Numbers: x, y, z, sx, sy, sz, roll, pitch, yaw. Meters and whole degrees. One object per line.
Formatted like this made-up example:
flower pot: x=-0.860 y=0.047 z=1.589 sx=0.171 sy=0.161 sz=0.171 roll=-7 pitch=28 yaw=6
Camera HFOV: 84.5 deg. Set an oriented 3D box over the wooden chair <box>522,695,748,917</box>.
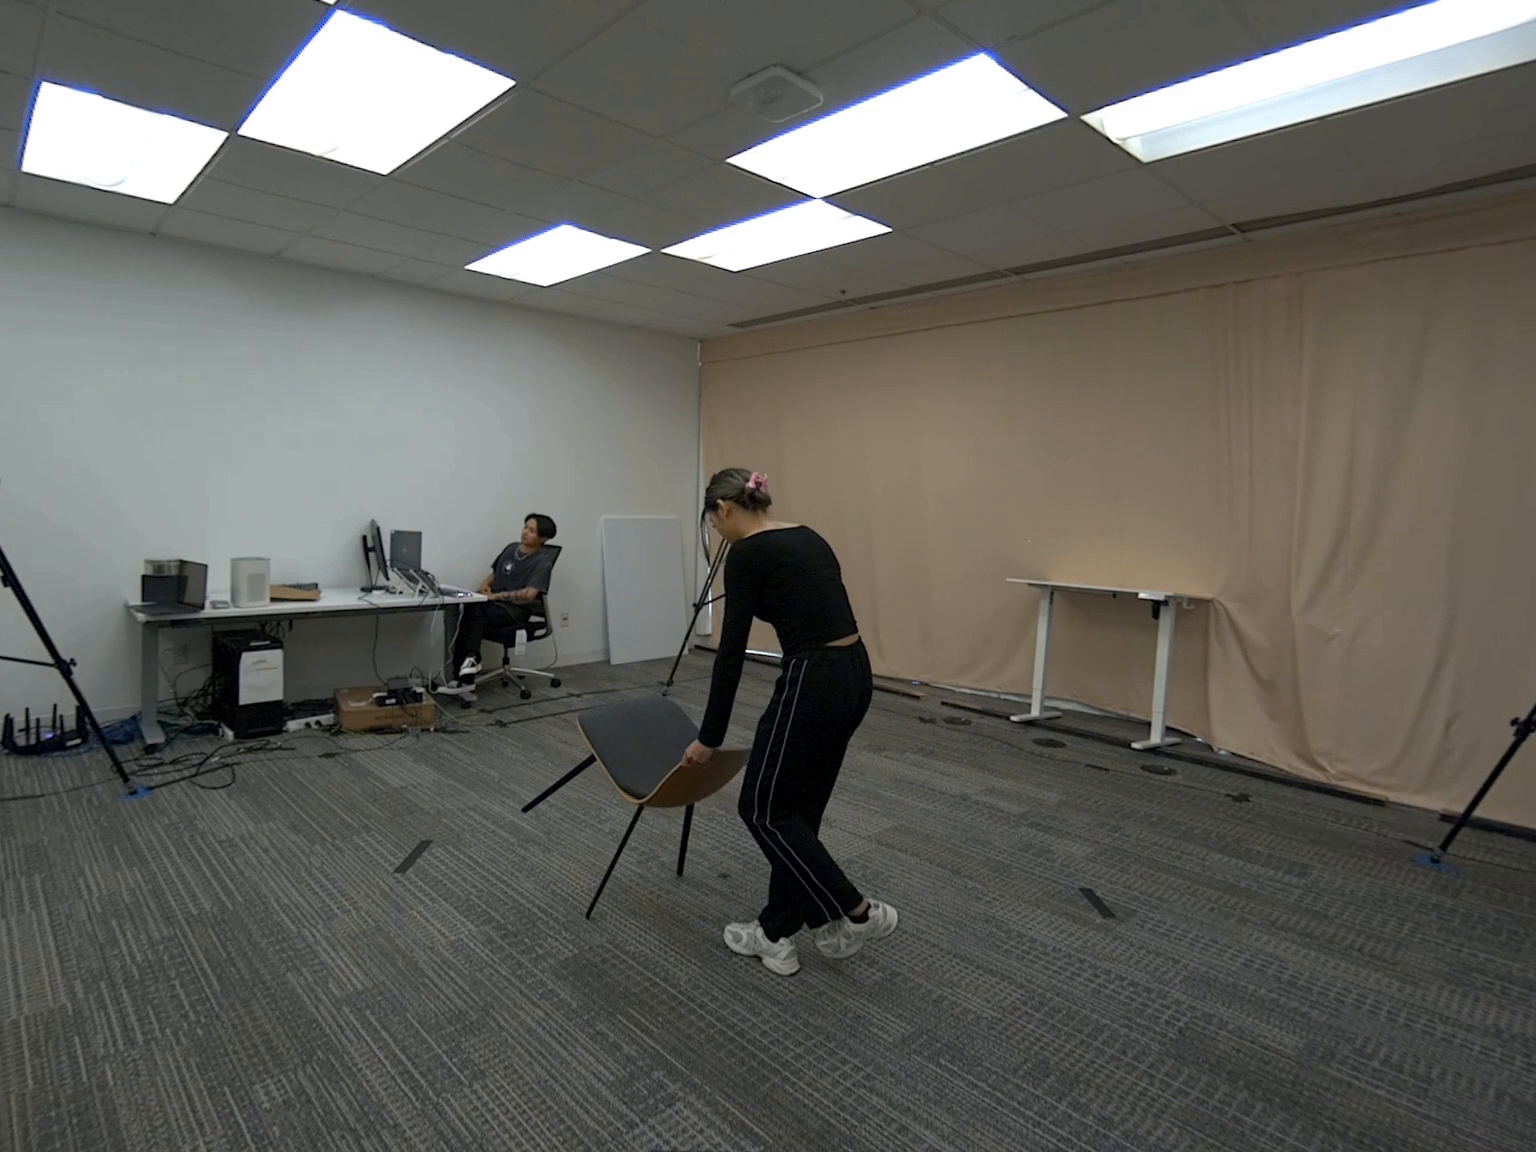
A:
wooden chair: x=-0.393 y=0.636 z=2.861 sx=0.467 sy=0.874 sz=0.537 roll=-3 pitch=47 yaw=-50
